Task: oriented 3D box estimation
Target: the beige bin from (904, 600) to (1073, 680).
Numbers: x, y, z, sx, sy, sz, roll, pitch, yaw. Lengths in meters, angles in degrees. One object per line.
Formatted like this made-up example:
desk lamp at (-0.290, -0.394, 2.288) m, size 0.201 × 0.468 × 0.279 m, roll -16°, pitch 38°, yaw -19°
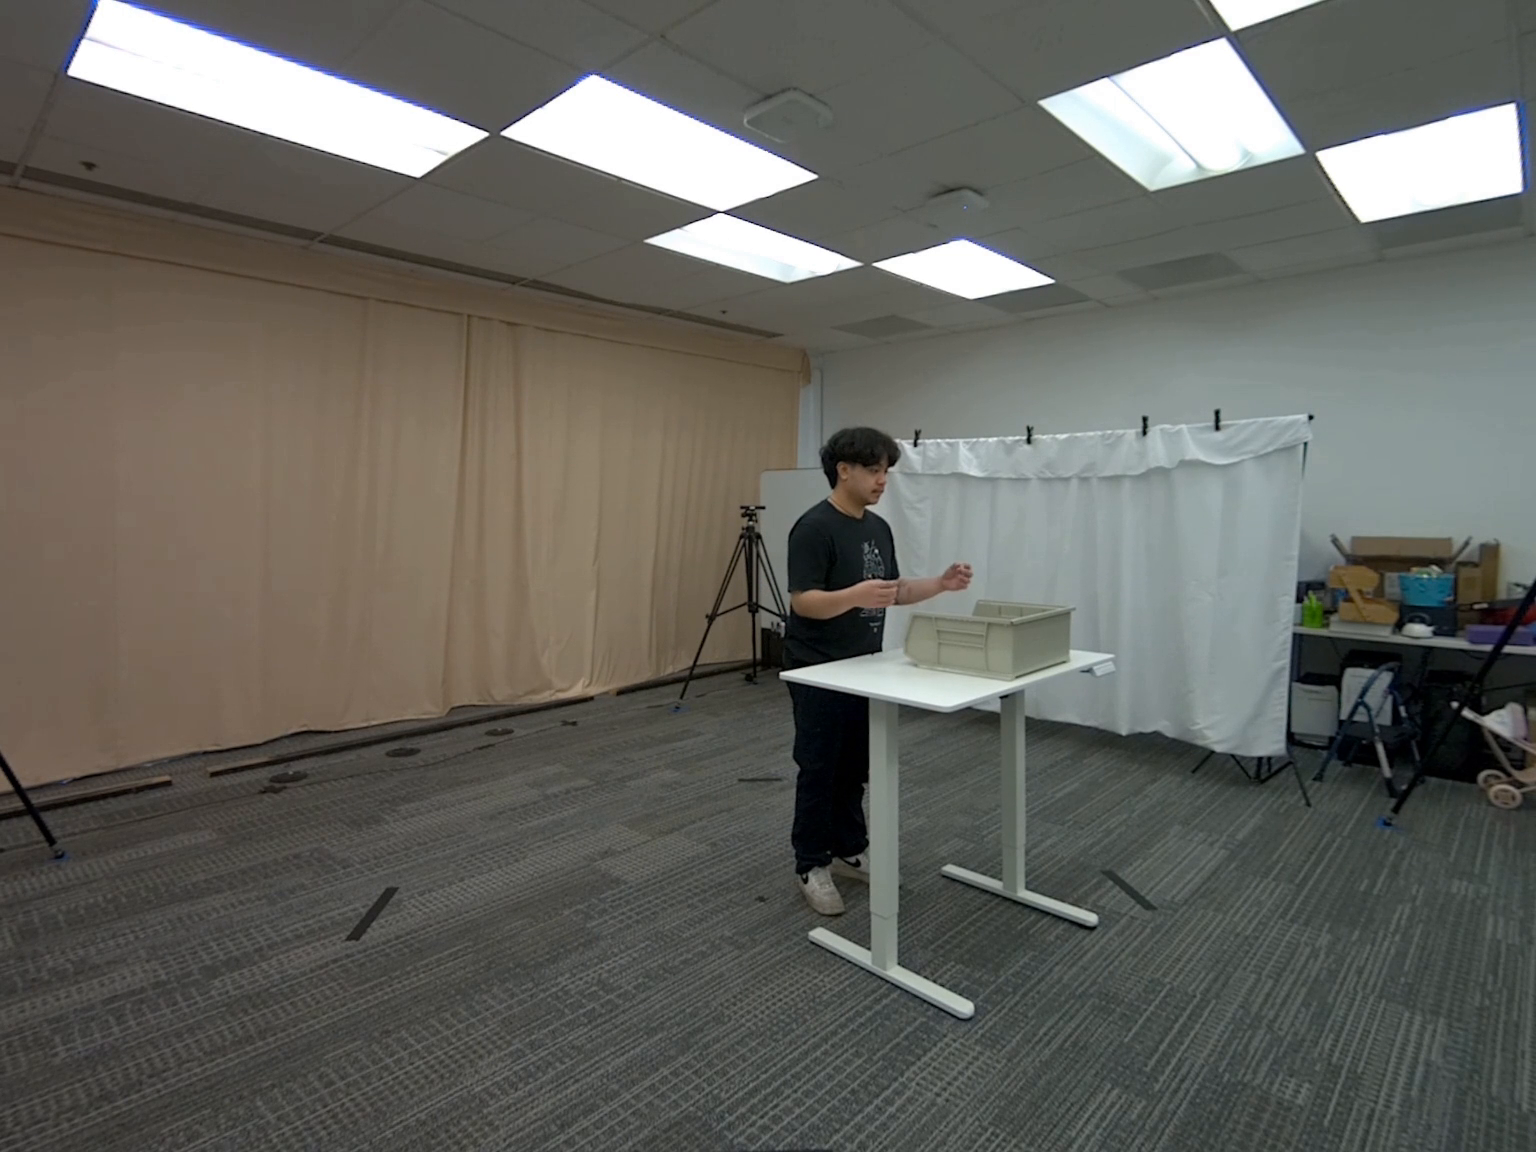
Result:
beige bin at (0.705, 0.196, 2.689) m, size 0.409 × 0.188 × 0.390 m, roll -5°, pitch 6°, yaw -44°
